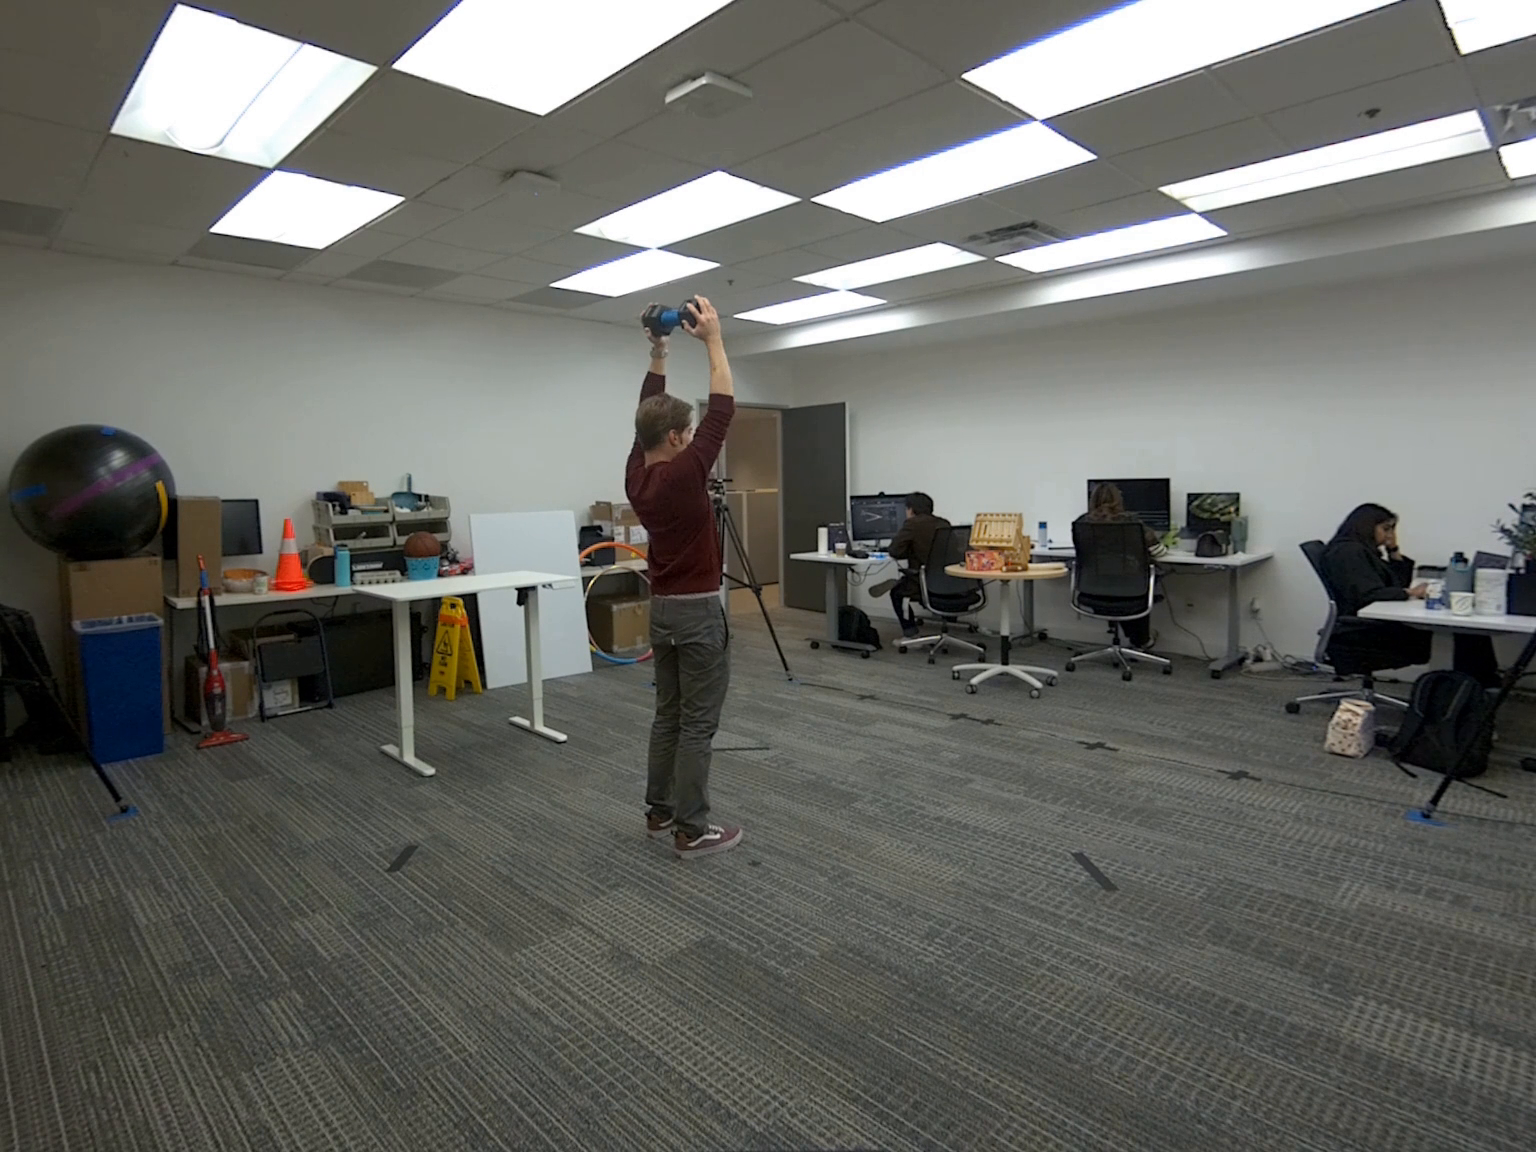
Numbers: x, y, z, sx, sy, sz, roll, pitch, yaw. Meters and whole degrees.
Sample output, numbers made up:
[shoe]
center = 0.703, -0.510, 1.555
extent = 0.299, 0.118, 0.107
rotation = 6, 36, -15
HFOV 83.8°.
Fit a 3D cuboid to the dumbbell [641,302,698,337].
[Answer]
[dumbbell]
center = -0.331, -0.949, 3.187
extent = 0.108, 0.120, 0.304
rotation = -35, 31, -33
